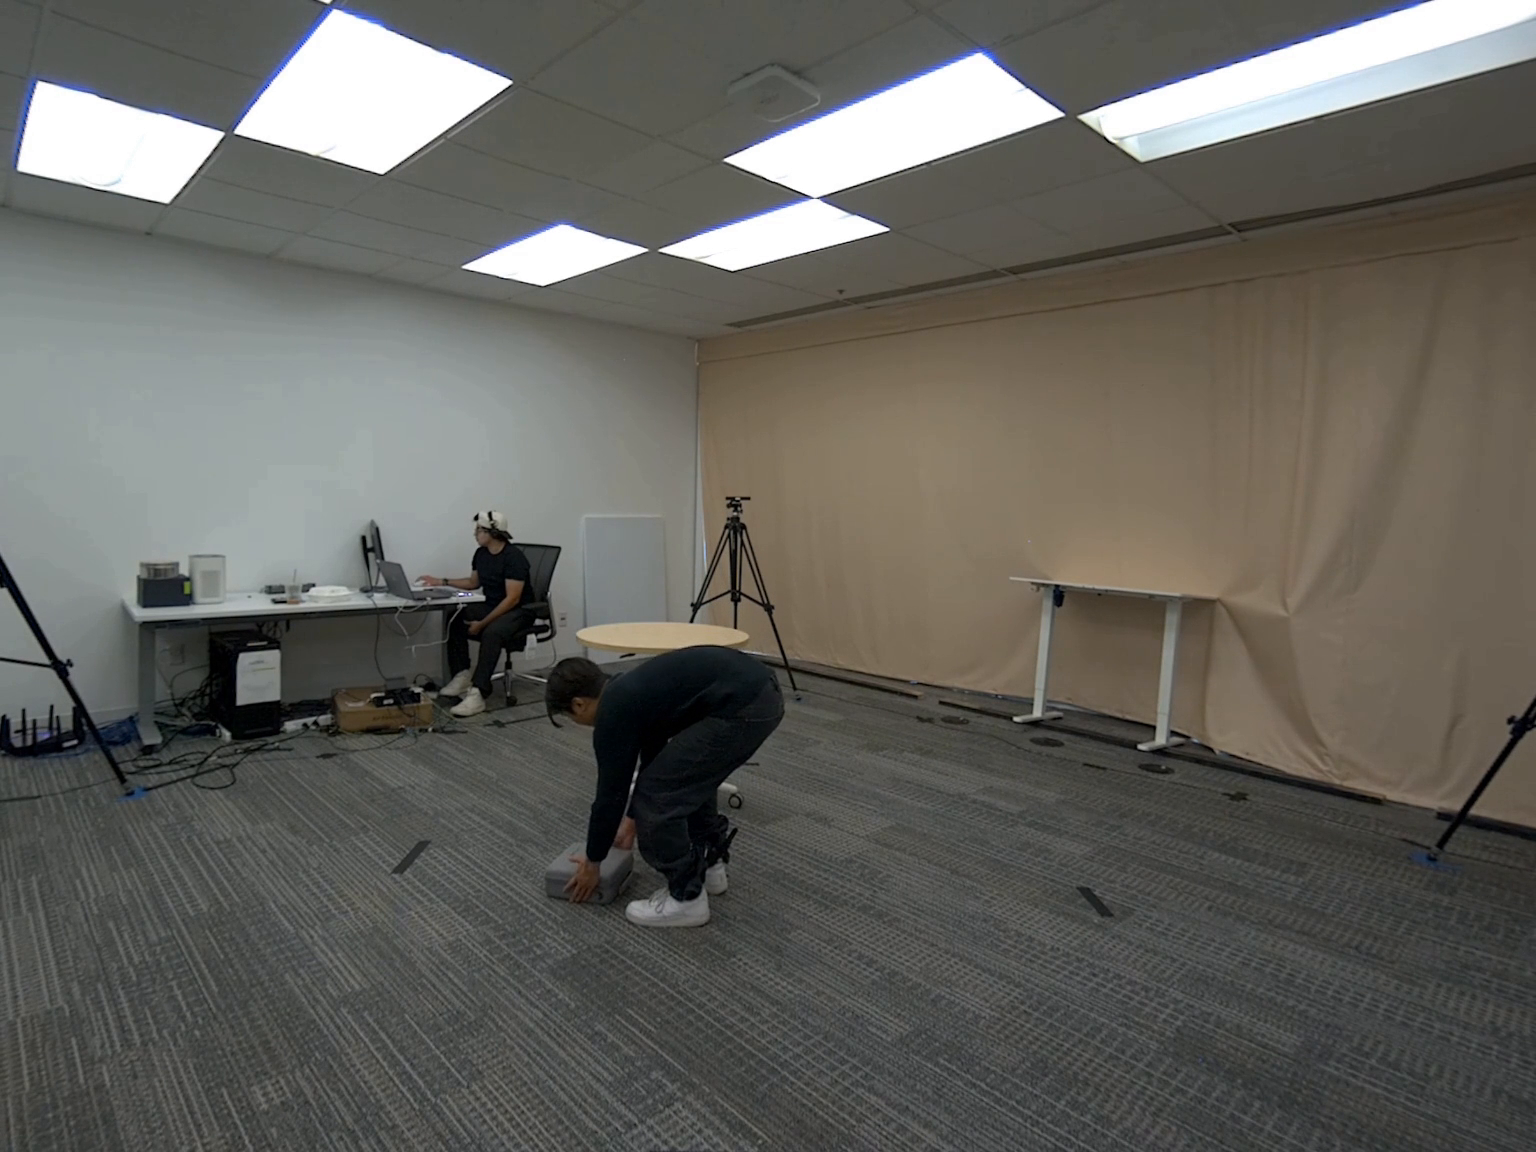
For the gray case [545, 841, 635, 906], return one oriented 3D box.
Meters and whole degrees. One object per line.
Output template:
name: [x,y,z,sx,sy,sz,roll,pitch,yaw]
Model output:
gray case: [-0.629,1.040,2.995,0.263,0.104,0.255,1,5,13]
